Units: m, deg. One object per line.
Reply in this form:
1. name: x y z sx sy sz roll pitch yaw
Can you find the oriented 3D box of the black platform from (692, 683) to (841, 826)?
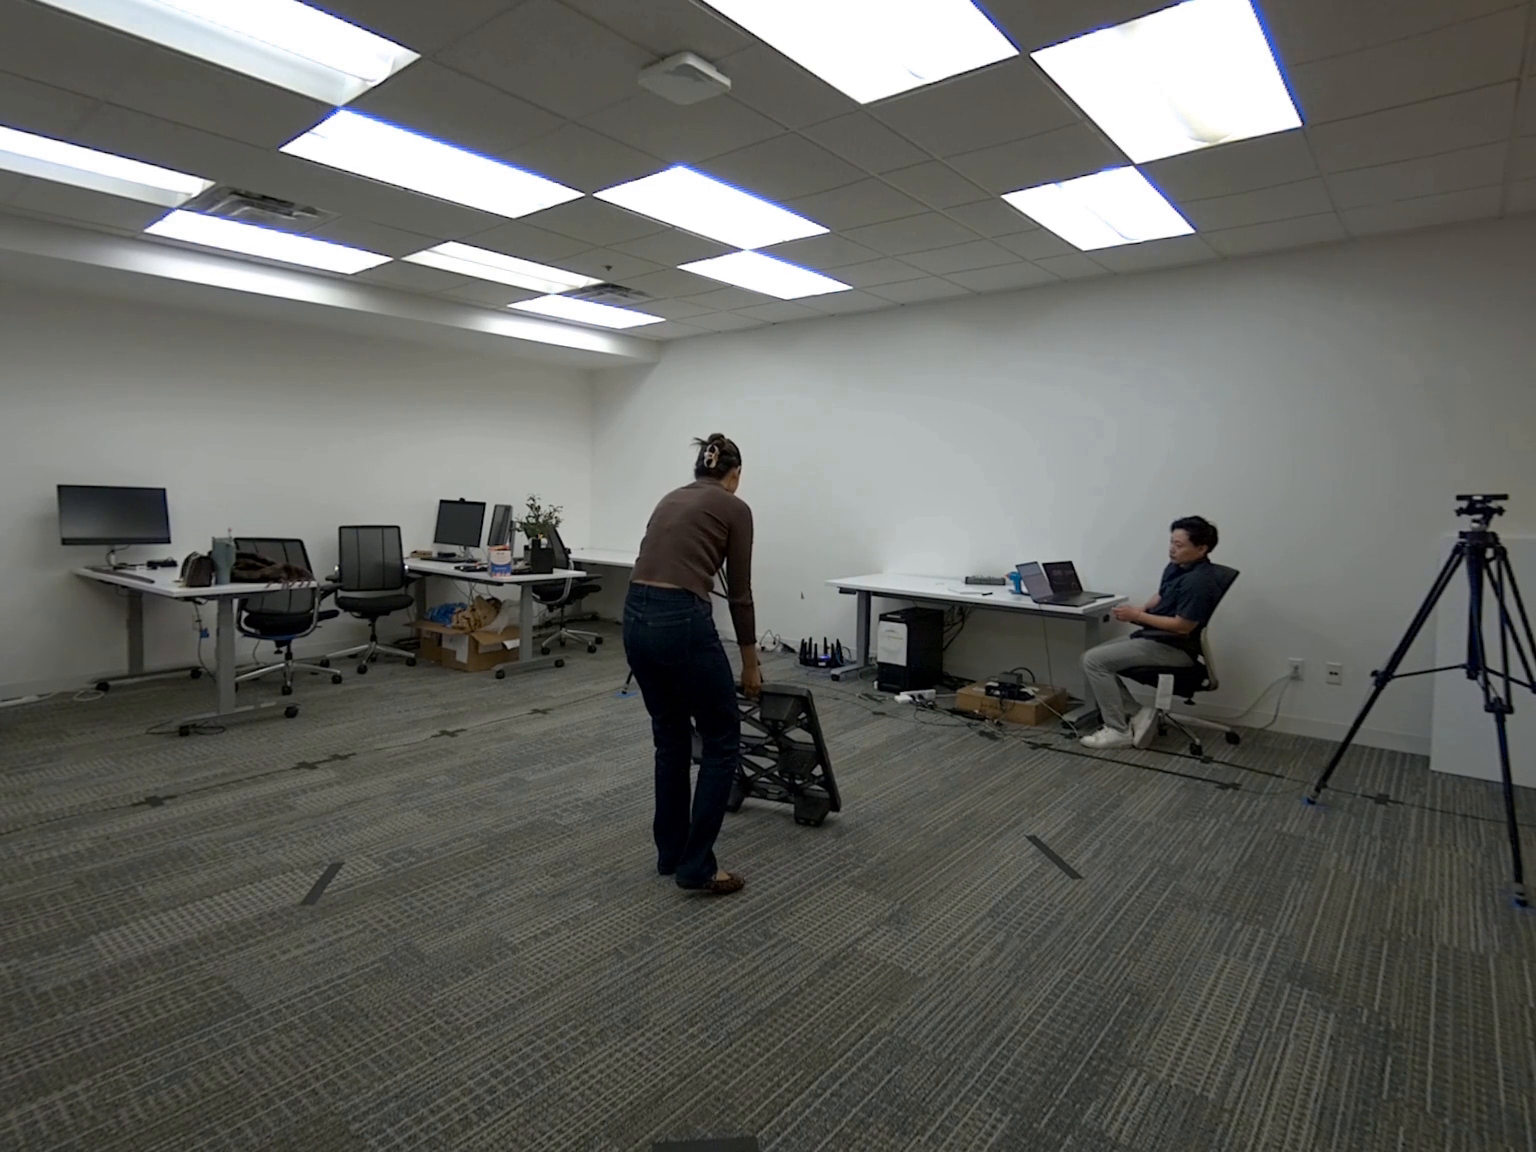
1. black platform: -0.075 0.714 3.414 0.619 0.777 0.145 3 44 21
